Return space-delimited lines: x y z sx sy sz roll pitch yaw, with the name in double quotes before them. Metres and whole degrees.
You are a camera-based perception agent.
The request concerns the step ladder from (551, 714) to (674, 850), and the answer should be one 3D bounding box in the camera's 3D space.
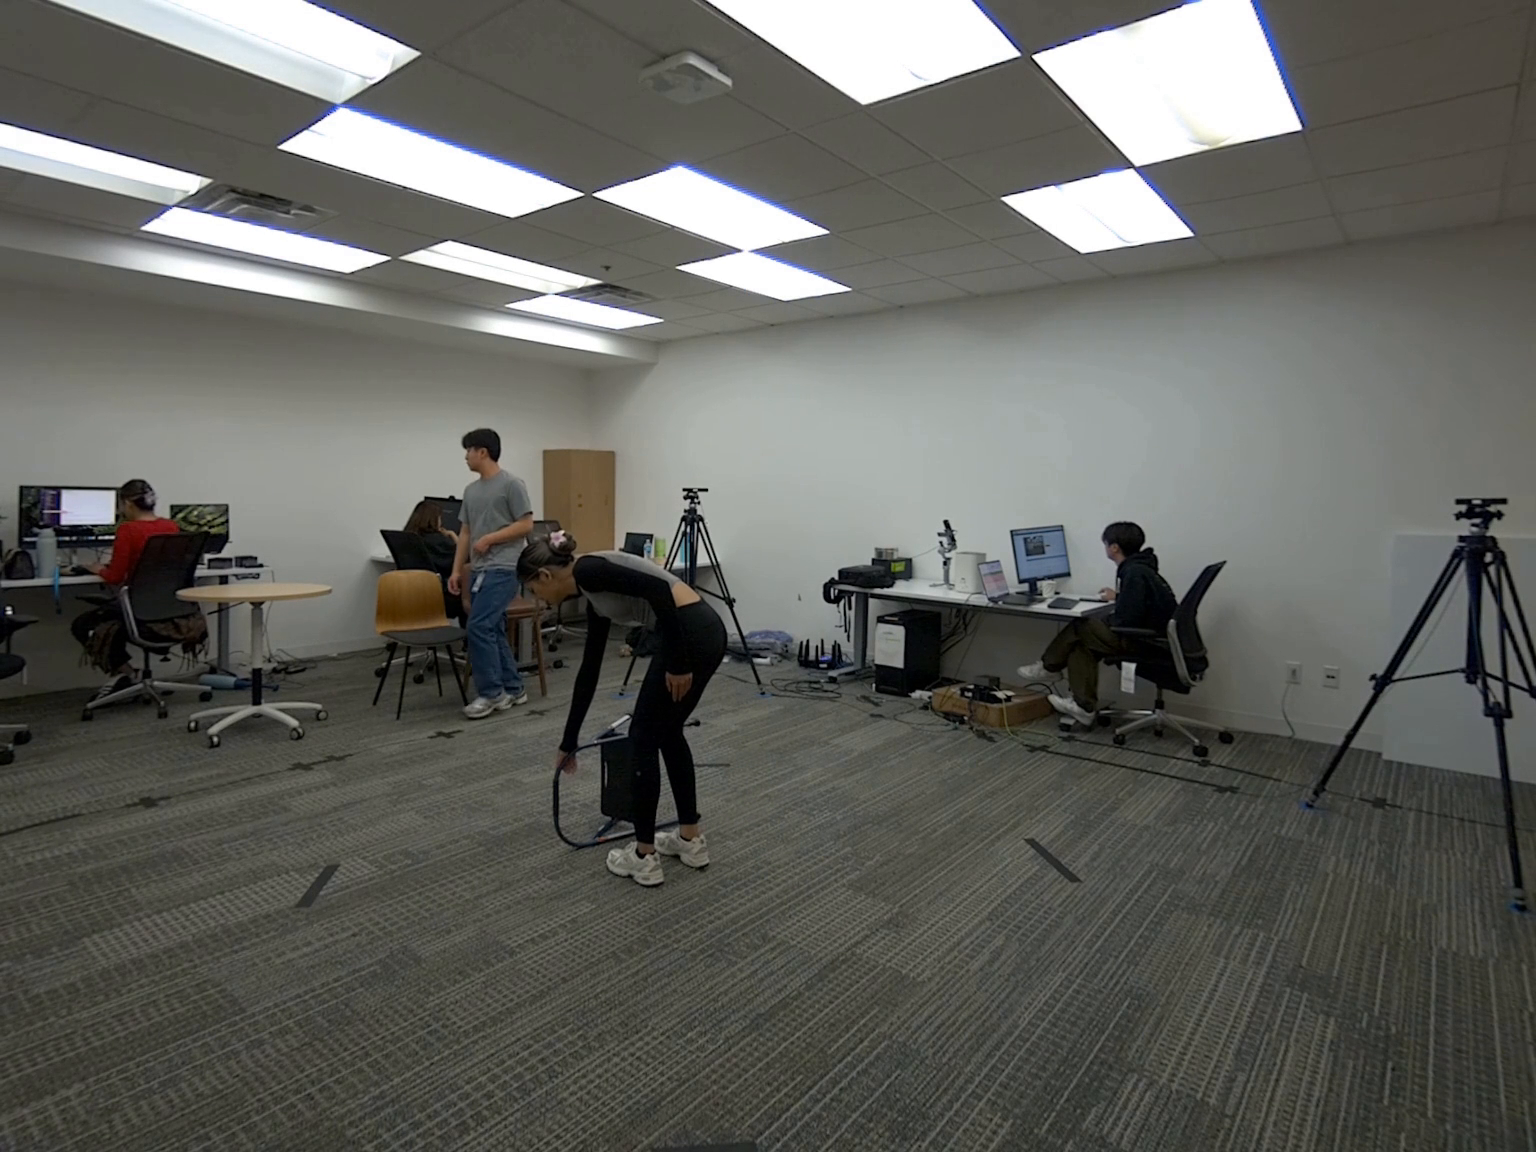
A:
"step ladder" -0.598 0.826 3.414 0.360 0.429 0.591 2 6 31
